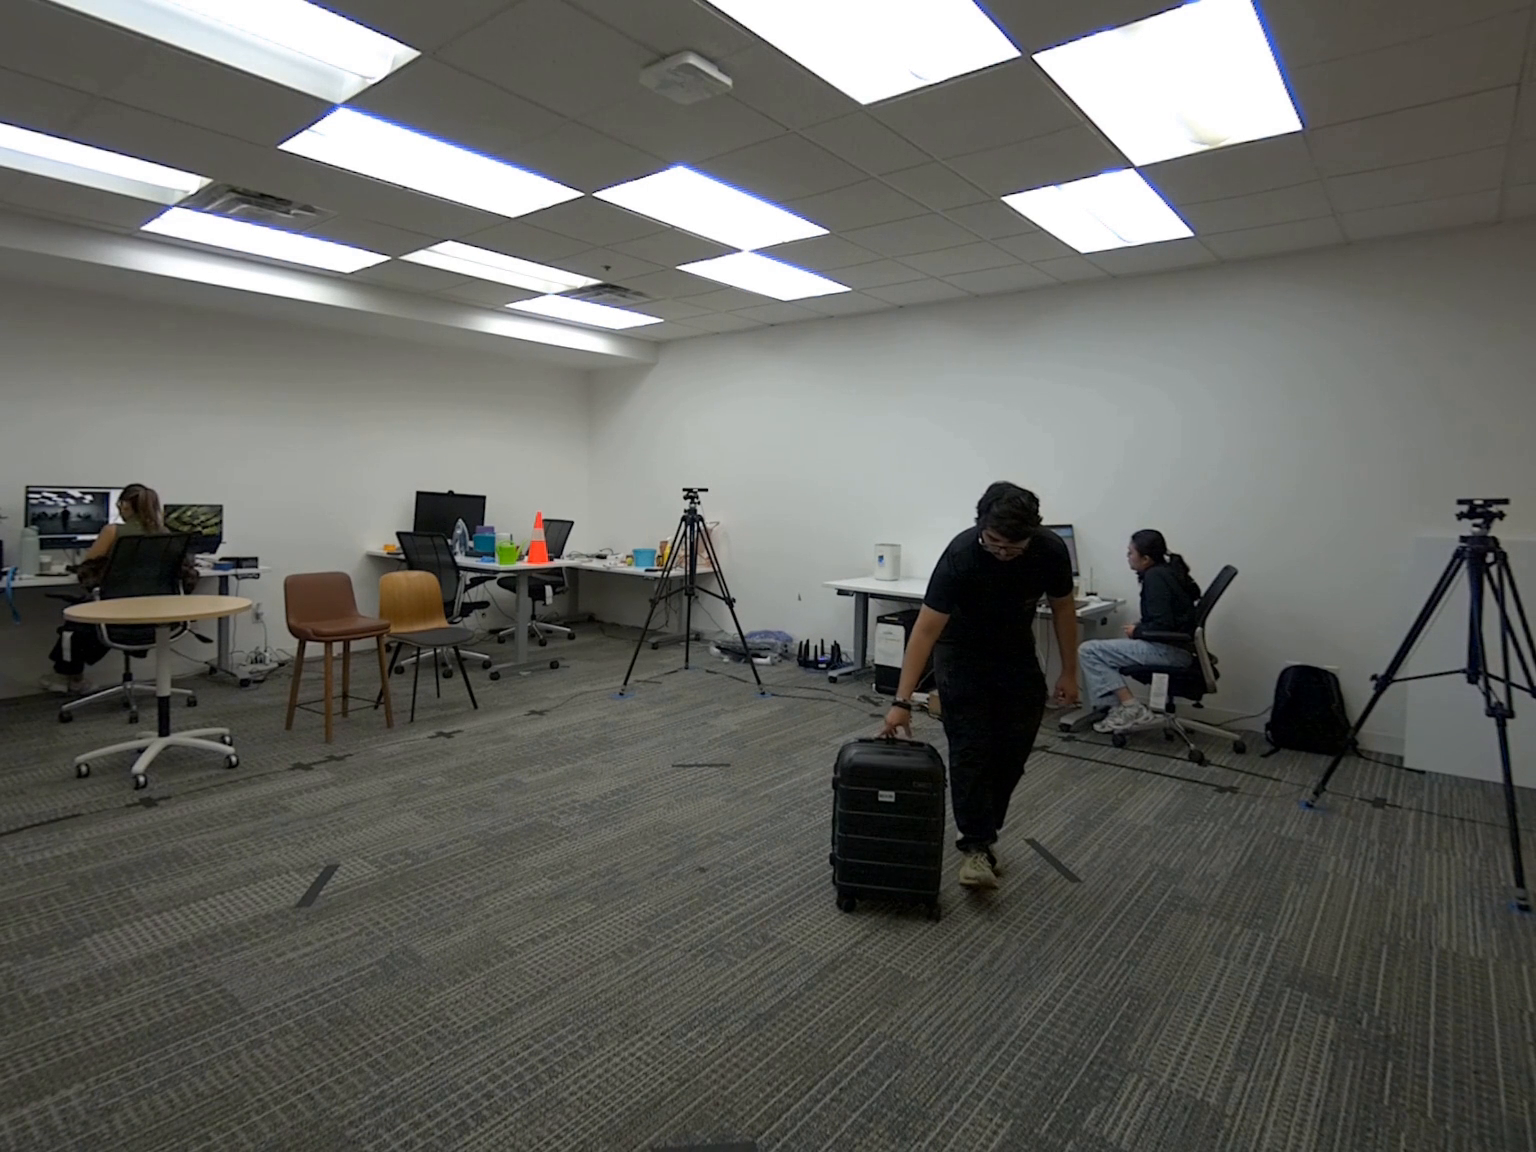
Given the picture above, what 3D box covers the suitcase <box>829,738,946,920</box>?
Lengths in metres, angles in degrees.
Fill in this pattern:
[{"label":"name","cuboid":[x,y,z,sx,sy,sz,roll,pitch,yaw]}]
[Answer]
[{"label":"suitcase","cuboid":[0.405,0.827,2.879,0.379,0.547,0.247,2,4,9]}]
